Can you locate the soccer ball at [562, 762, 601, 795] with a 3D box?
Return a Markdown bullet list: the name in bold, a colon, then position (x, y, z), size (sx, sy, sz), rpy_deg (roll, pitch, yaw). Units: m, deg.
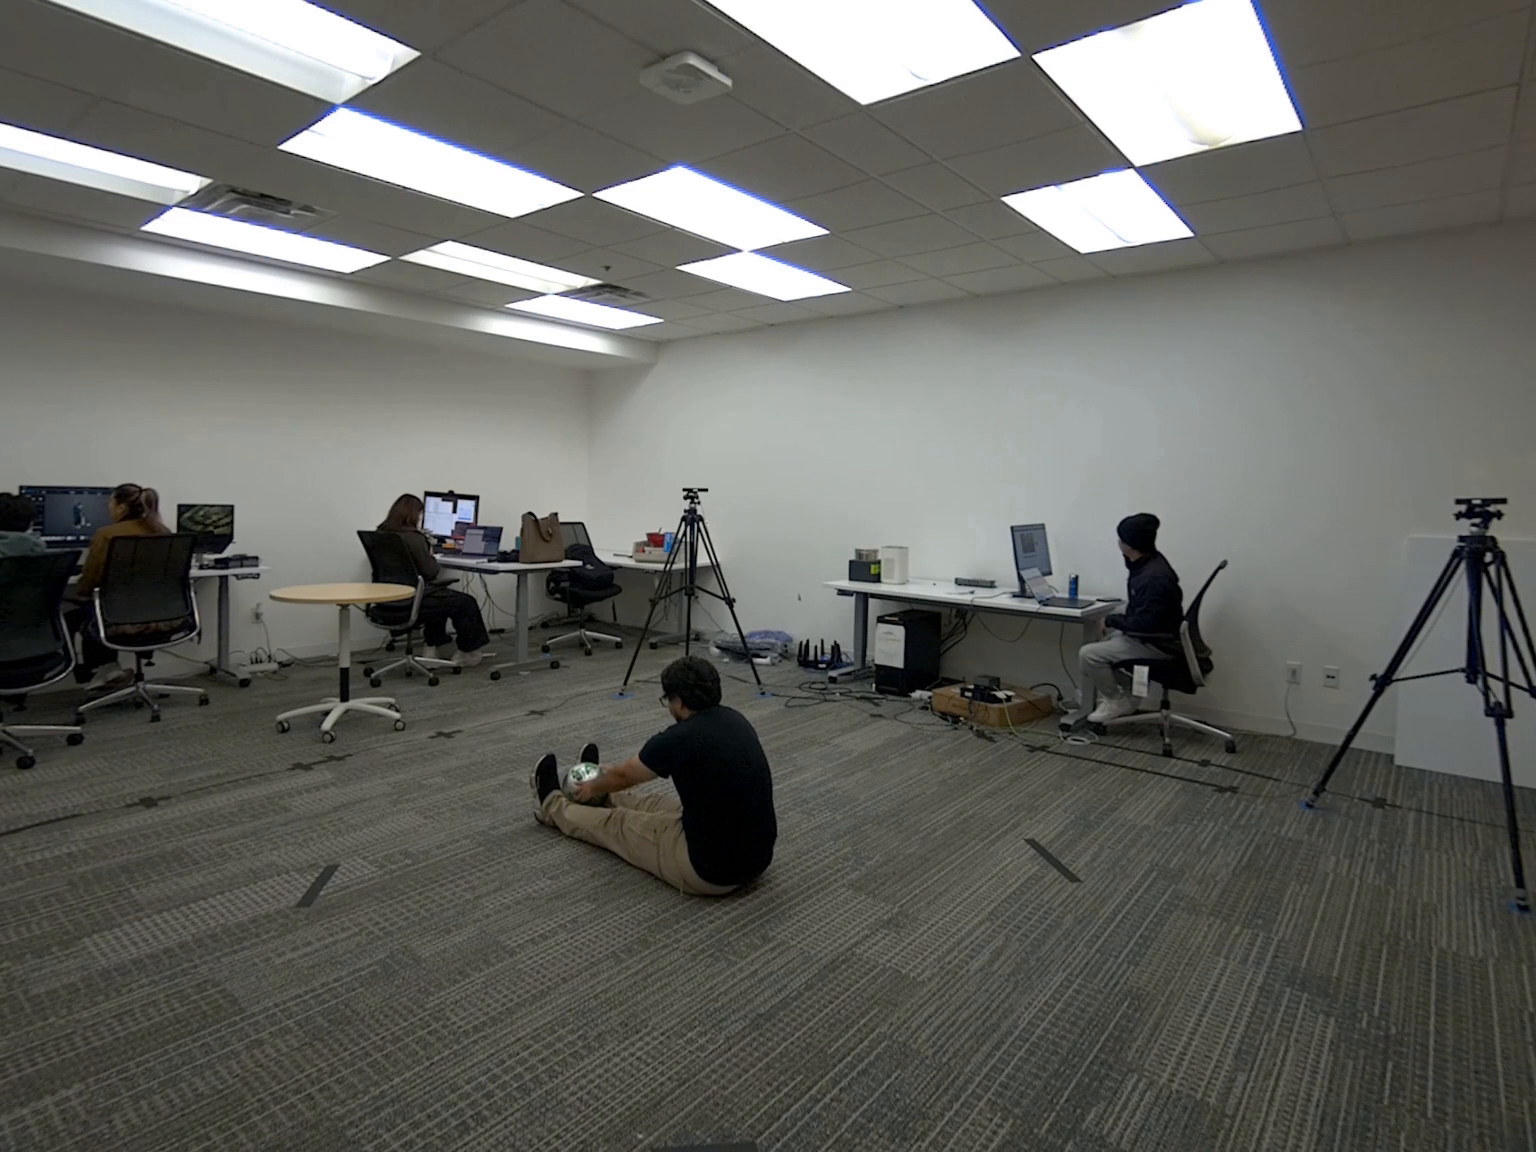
- **soccer ball**: position (-0.796, 0.873, 3.515), size (0.187, 0.187, 0.188), rpy_deg (0, 4, -2)
